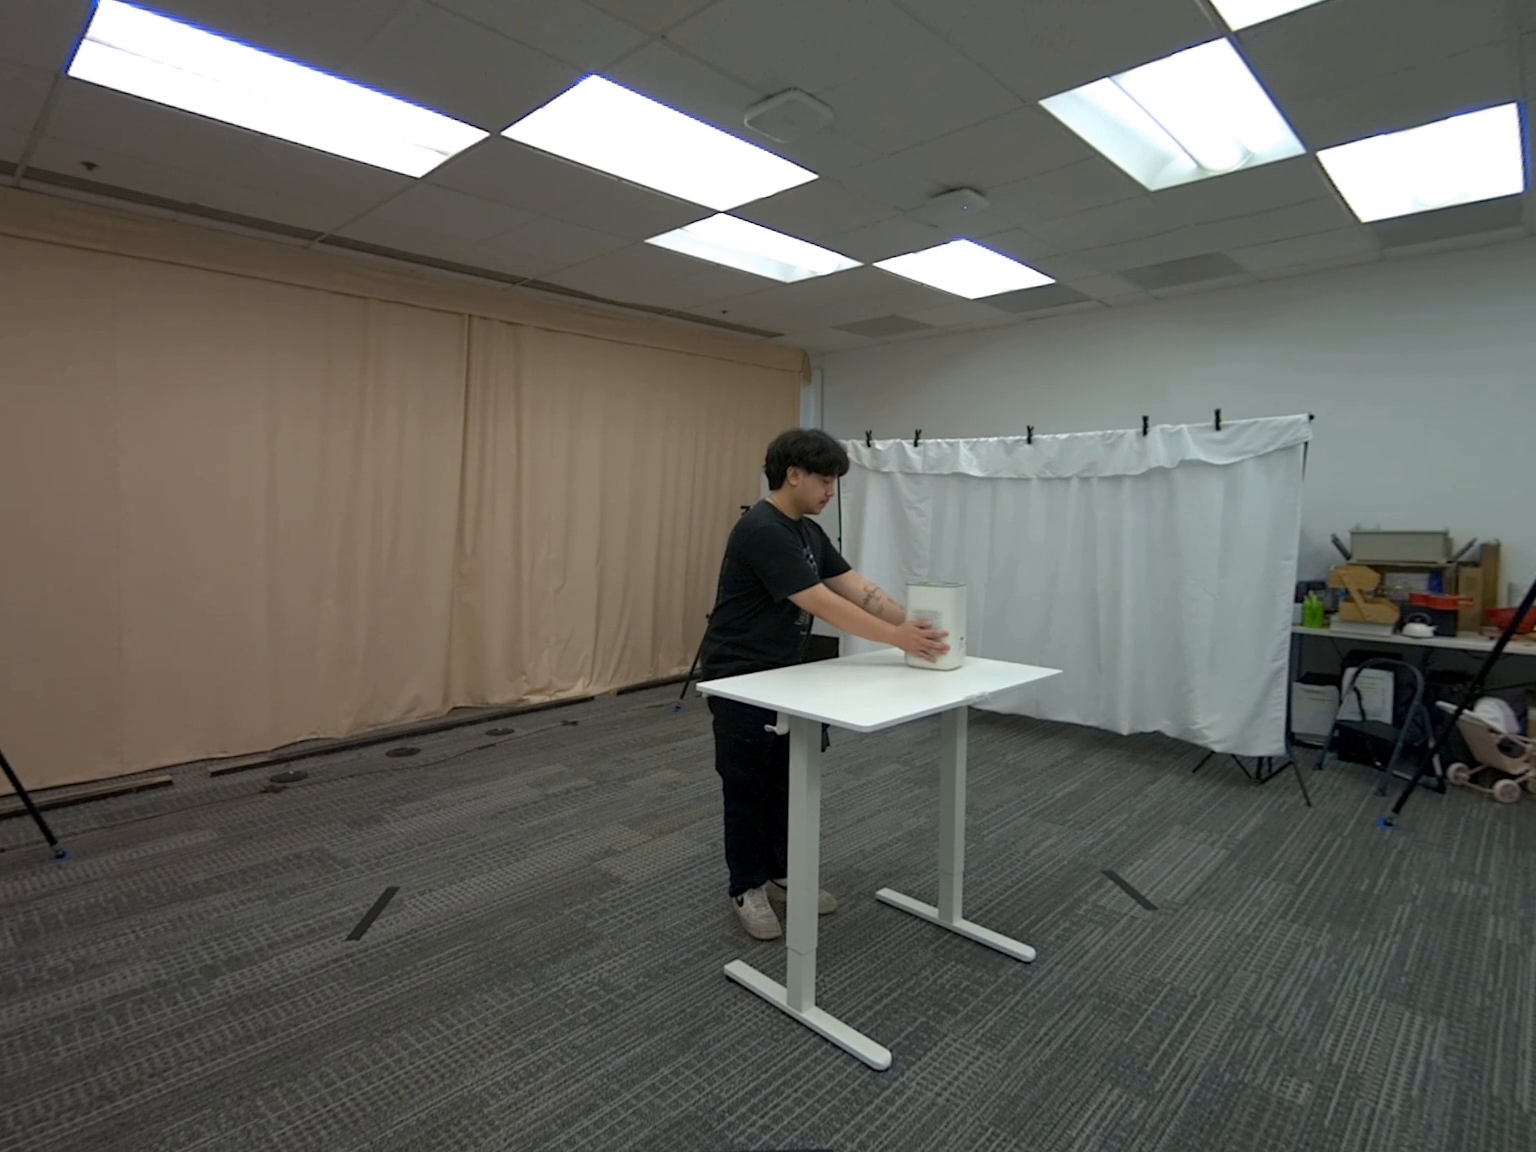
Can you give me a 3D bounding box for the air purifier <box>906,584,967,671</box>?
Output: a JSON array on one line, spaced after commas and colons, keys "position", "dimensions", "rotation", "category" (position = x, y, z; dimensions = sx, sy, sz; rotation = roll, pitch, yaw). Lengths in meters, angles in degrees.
[{"position": [0.541, 0.155, 2.663], "dimensions": [0.177, 0.265, 0.166], "rotation": [3, 3, 34], "category": "air purifier"}]
